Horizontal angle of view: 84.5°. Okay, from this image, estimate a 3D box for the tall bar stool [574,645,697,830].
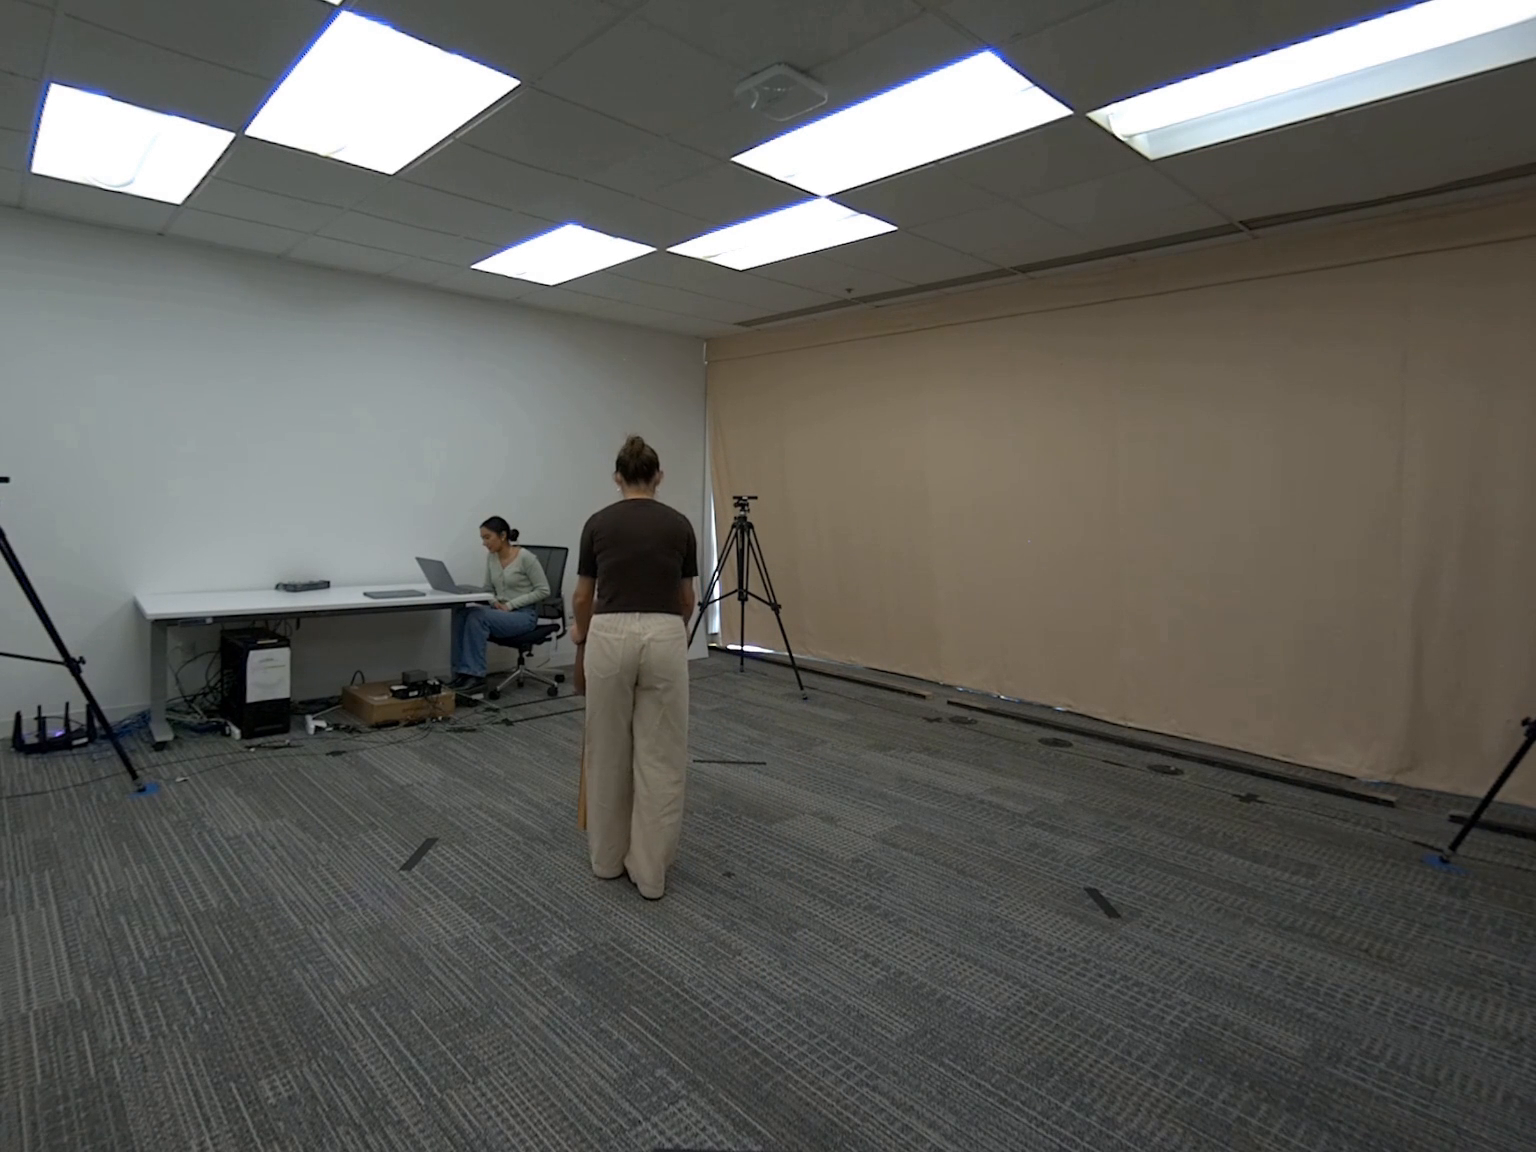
[{"bbox_3d":[-0.580,0.577,3.458,0.453,0.899,0.467,1,-14,-11],"label":"tall bar stool"}]
